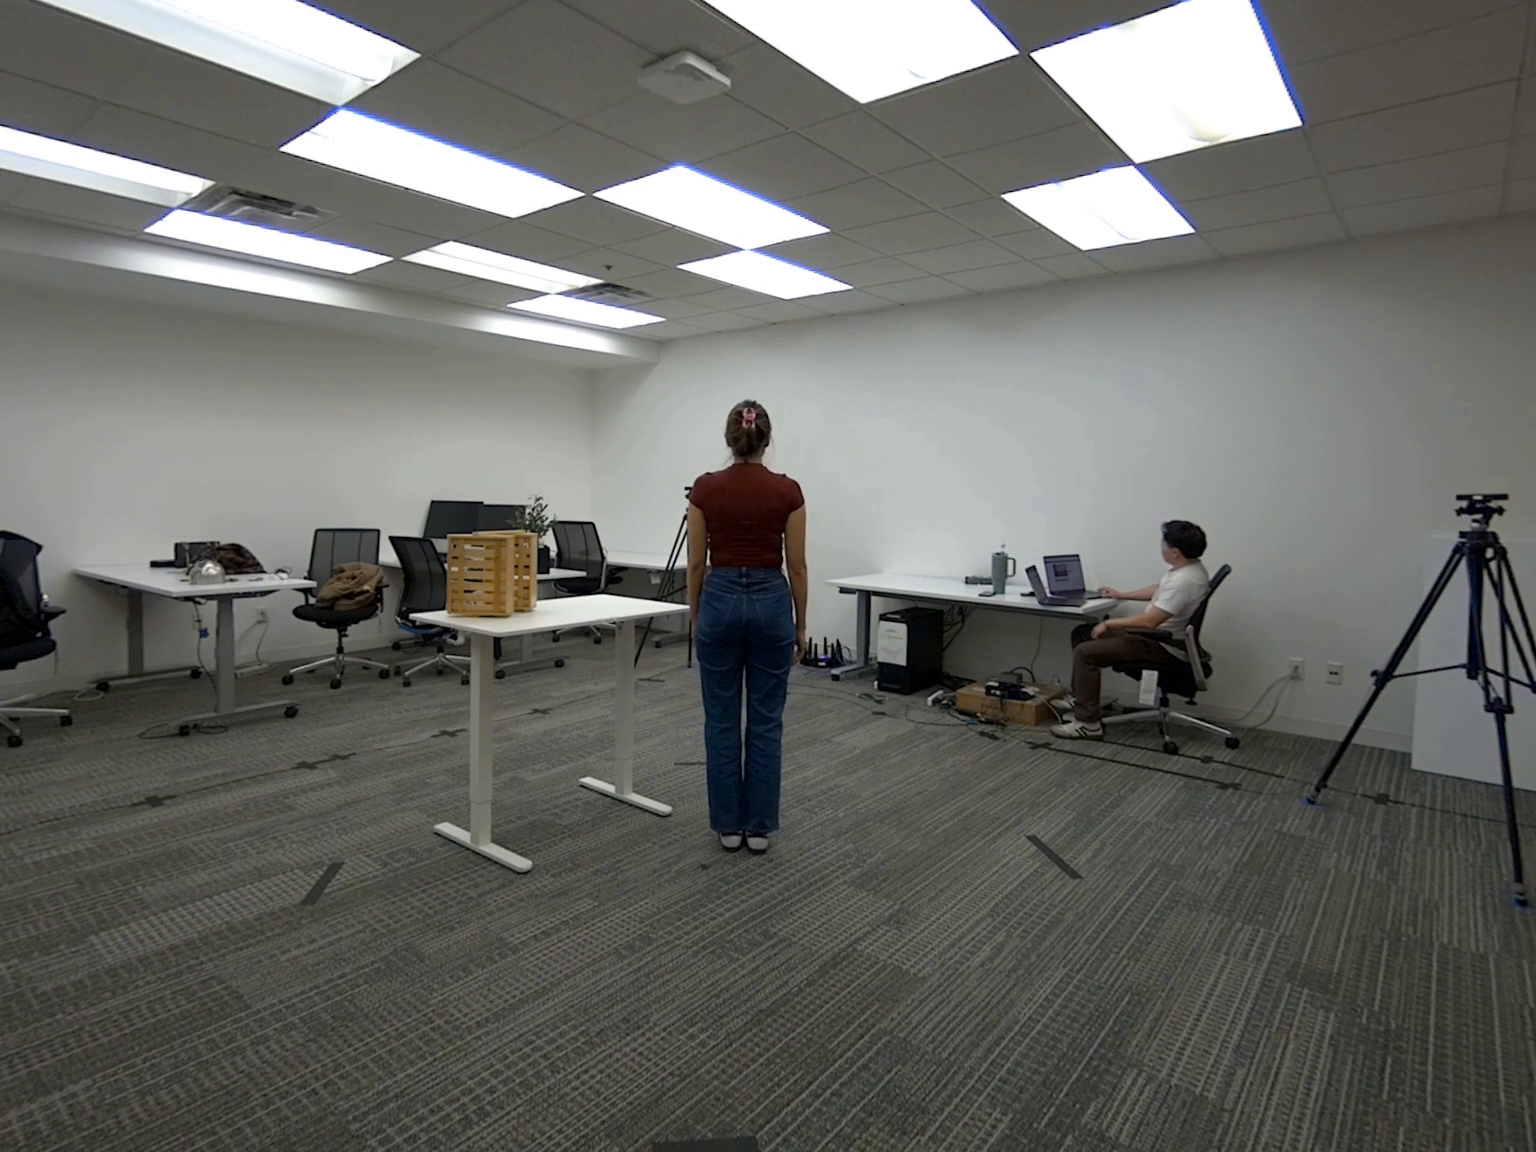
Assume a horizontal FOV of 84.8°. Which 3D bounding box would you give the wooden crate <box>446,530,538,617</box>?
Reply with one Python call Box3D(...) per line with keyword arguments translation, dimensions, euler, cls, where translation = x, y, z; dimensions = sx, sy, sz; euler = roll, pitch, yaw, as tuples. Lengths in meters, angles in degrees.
Box3D(translation=(-1.111, -0.015, 3.375), dimensions=(0.302, 0.323, 0.274), euler=(2, 4, -1), cls="wooden crate")
